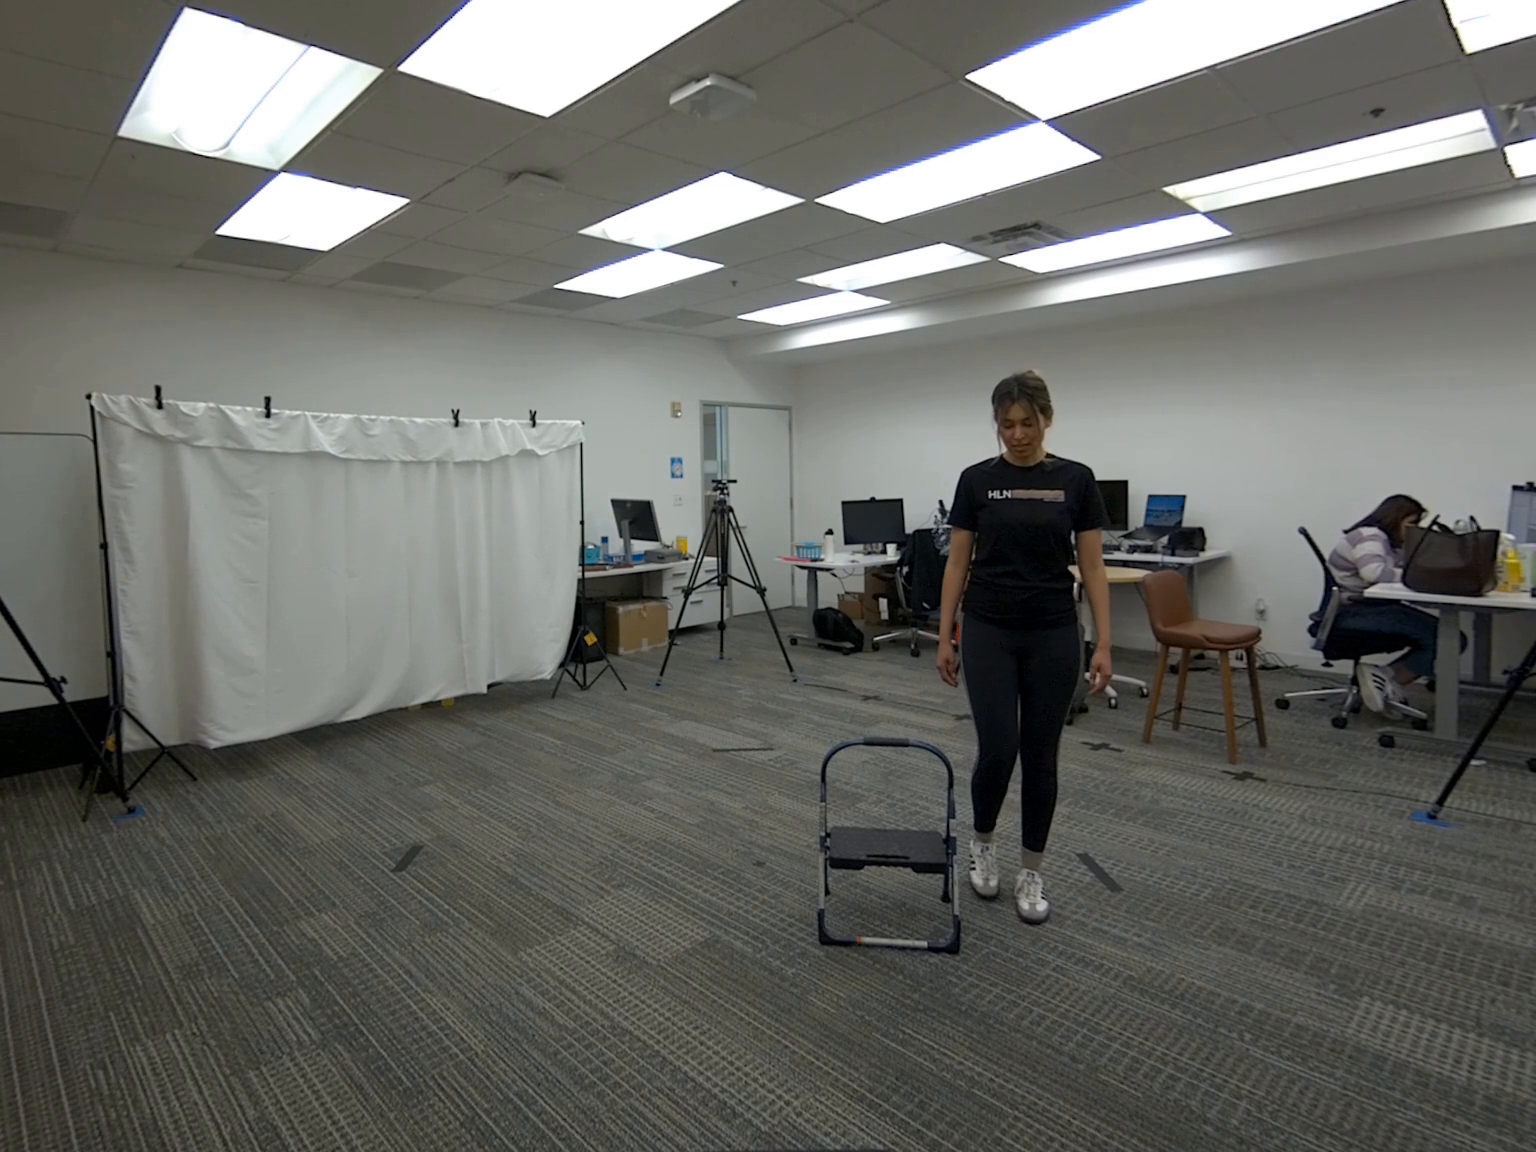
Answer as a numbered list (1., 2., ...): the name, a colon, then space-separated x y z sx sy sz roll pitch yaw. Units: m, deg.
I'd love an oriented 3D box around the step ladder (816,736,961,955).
1. step ladder: 0.371 0.790 2.672 0.434 0.604 0.348 -1 4 7
